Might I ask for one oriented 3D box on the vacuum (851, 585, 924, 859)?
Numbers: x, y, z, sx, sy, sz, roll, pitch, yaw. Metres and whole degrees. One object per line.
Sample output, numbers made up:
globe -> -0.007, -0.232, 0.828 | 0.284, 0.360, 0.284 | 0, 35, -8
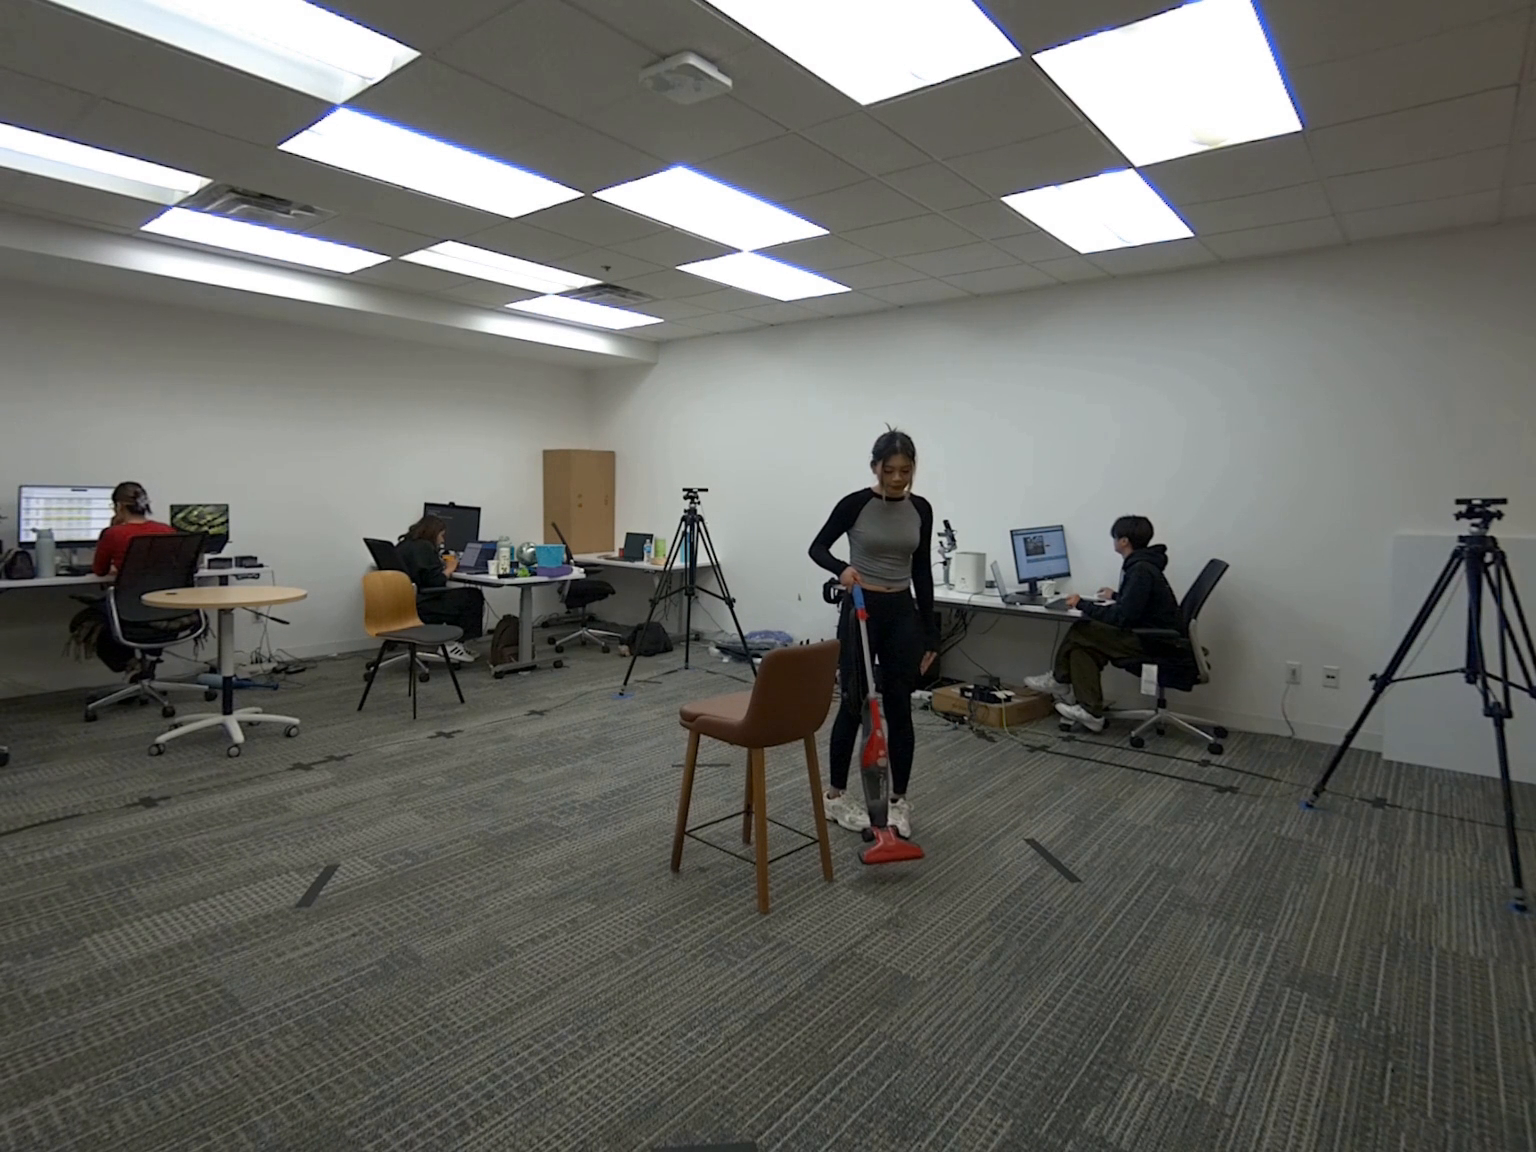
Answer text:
vacuum -> 0.372, 0.477, 3.233 | 0.247, 1.067, 0.145 | 0, -17, -24
